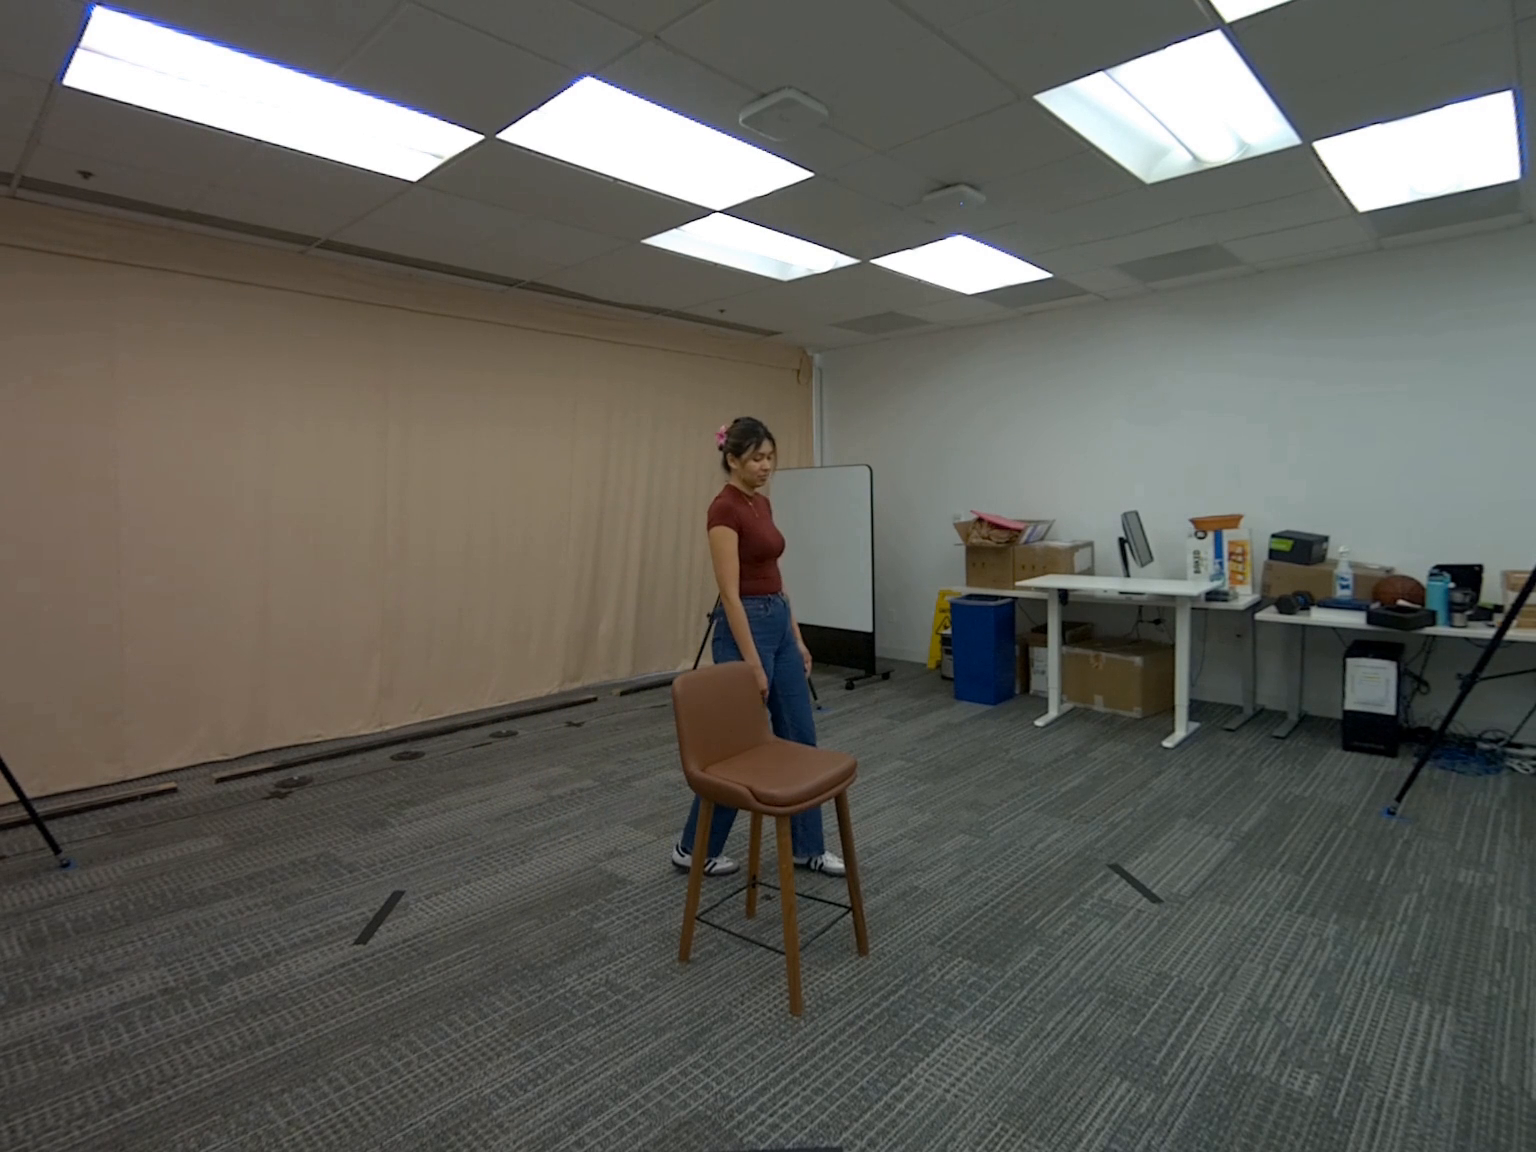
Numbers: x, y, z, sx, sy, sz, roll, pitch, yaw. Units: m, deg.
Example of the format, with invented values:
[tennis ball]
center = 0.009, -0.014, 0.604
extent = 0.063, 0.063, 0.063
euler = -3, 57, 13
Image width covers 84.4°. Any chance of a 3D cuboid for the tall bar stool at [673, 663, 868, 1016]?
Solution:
[tall bar stool]
center = 0.005, 0.740, 2.563
extent = 0.482, 0.888, 0.443
euler = -1, 3, 37
